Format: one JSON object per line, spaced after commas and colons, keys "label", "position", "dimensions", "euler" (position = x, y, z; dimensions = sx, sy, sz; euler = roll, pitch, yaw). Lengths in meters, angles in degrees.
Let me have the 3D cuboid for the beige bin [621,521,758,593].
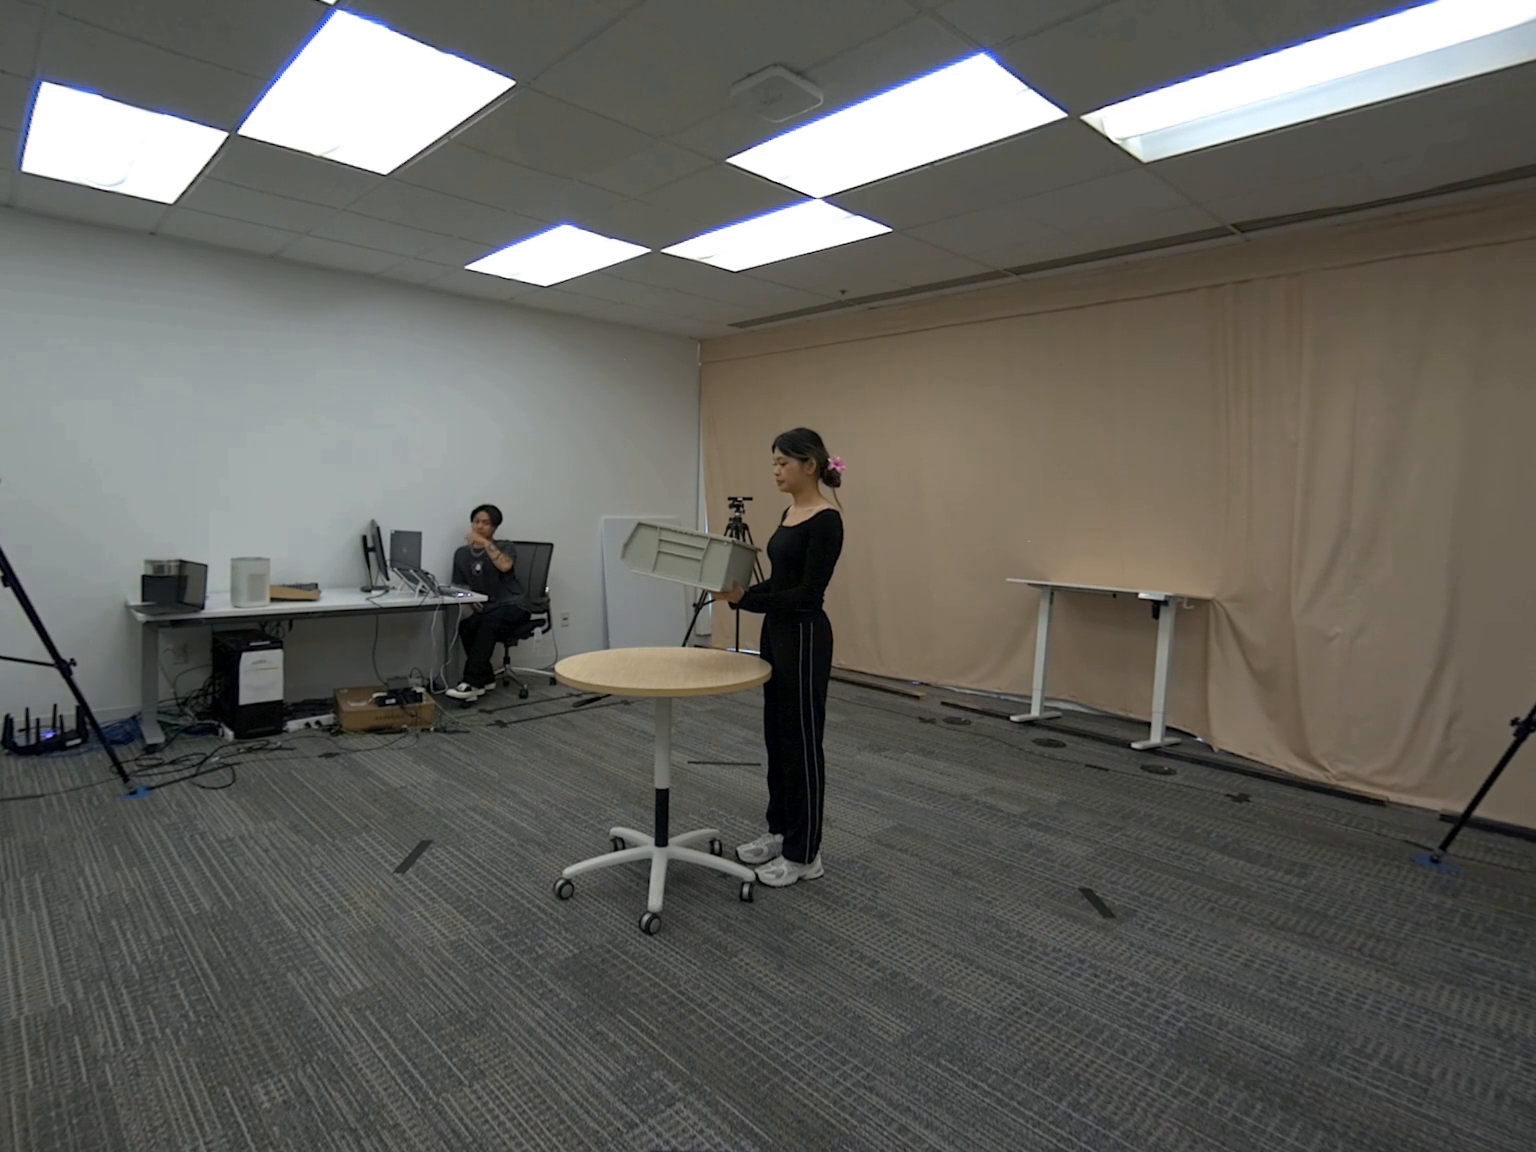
{"label": "beige bin", "position": [-0.287, -0.057, 2.953], "dimensions": [0.382, 0.189, 0.417], "euler": [14, -1, 12]}
